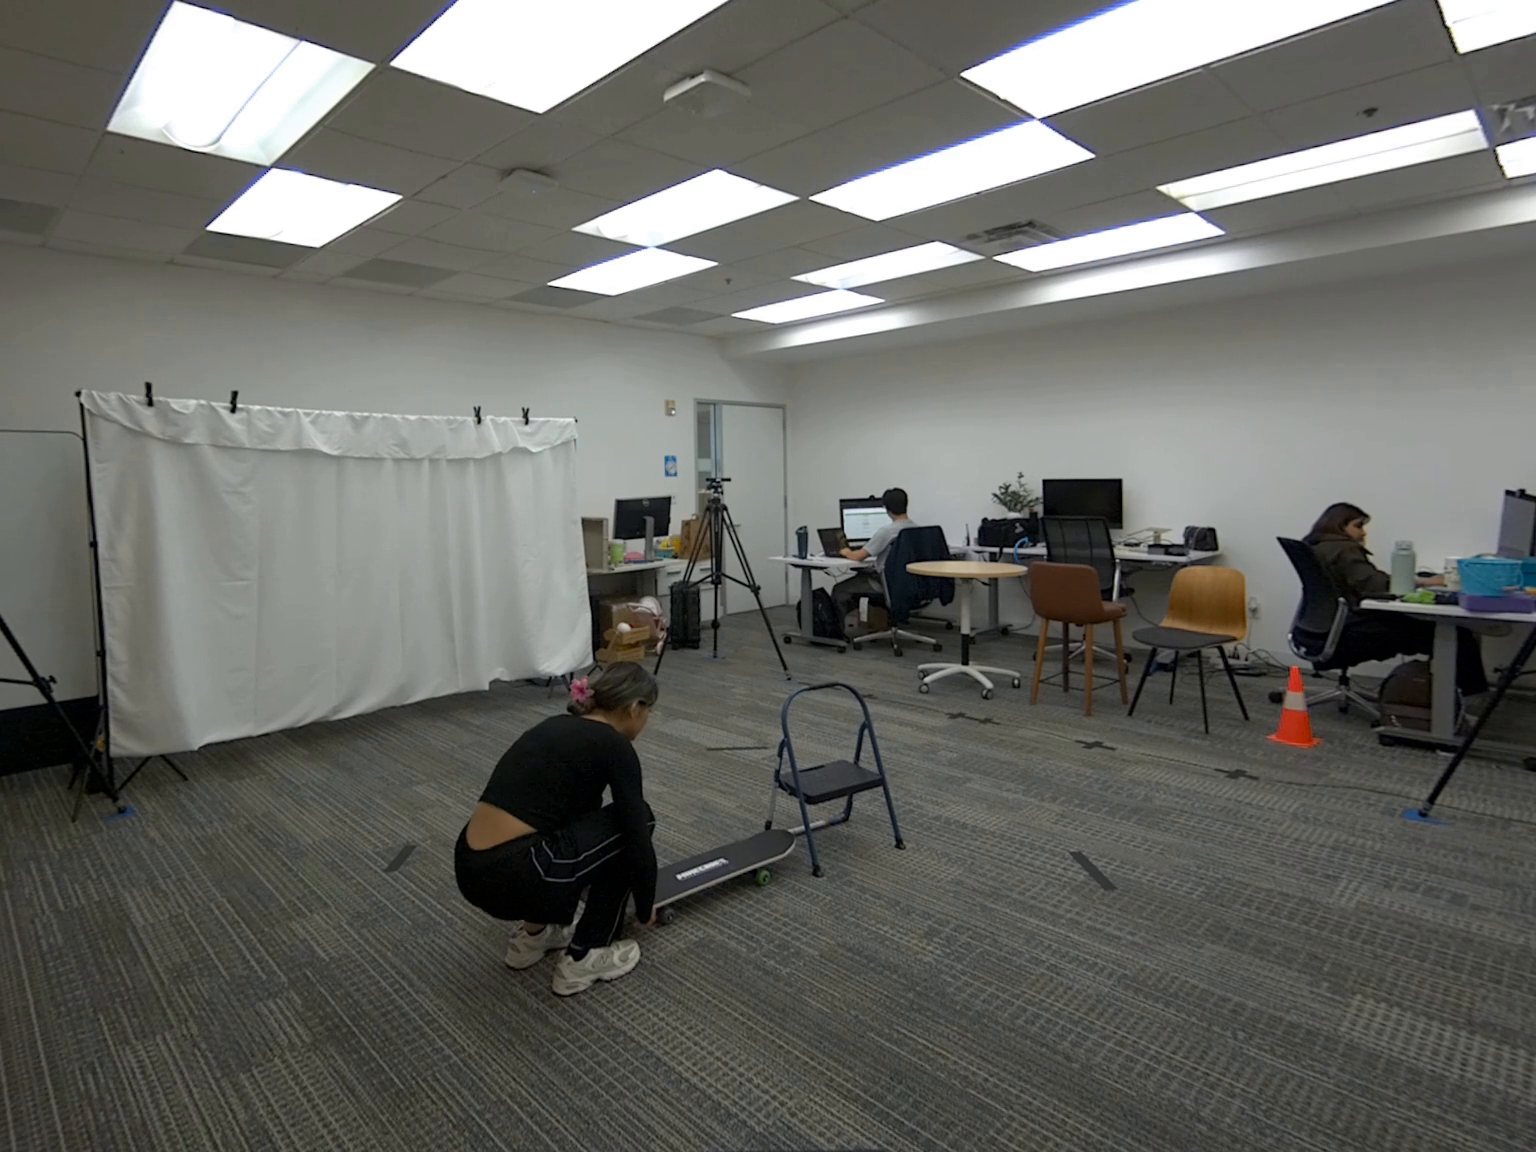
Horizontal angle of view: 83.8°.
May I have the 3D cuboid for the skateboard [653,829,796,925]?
[{"bbox_3d":[-0.218,1.020,2.870,0.766,0.110,0.199,-7,8,-38],"label":"skateboard"}]
